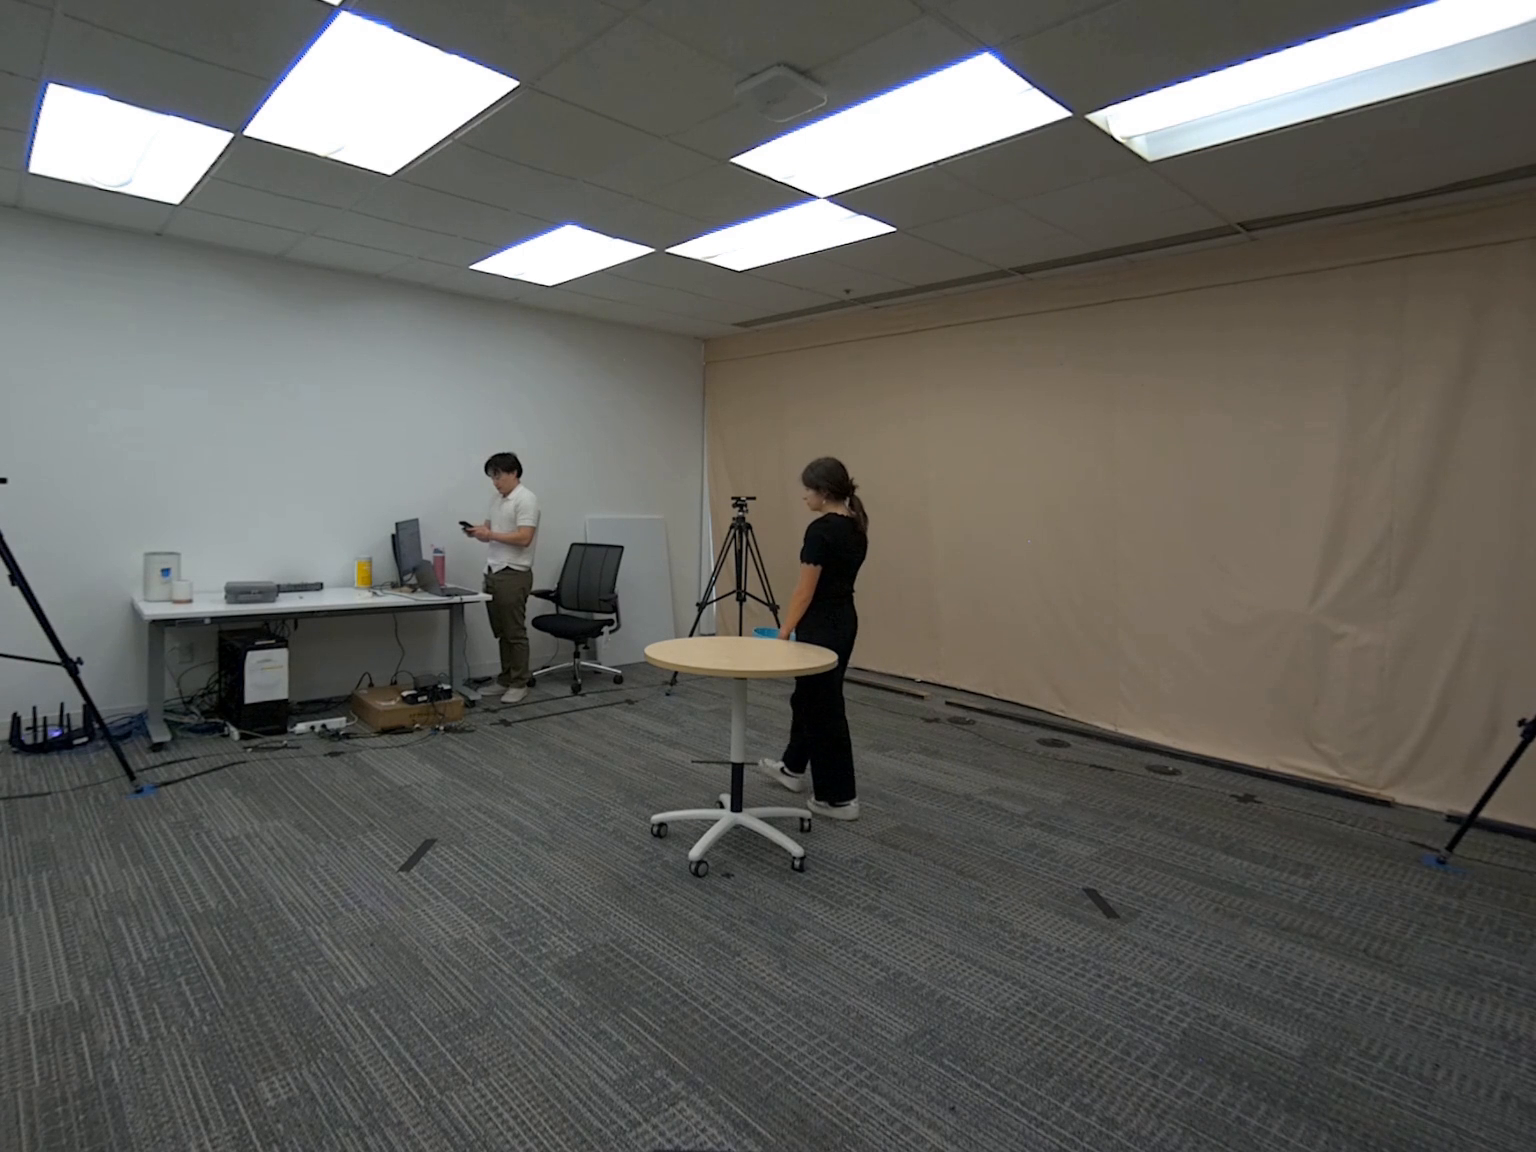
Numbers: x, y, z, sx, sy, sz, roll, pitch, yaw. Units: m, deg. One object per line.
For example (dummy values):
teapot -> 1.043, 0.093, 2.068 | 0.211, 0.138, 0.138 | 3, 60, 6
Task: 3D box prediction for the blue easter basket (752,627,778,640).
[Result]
blue easter basket -> 0.052, 0.348, 3.890 | 0.243, 0.155, 0.245 | 8, 9, -2
